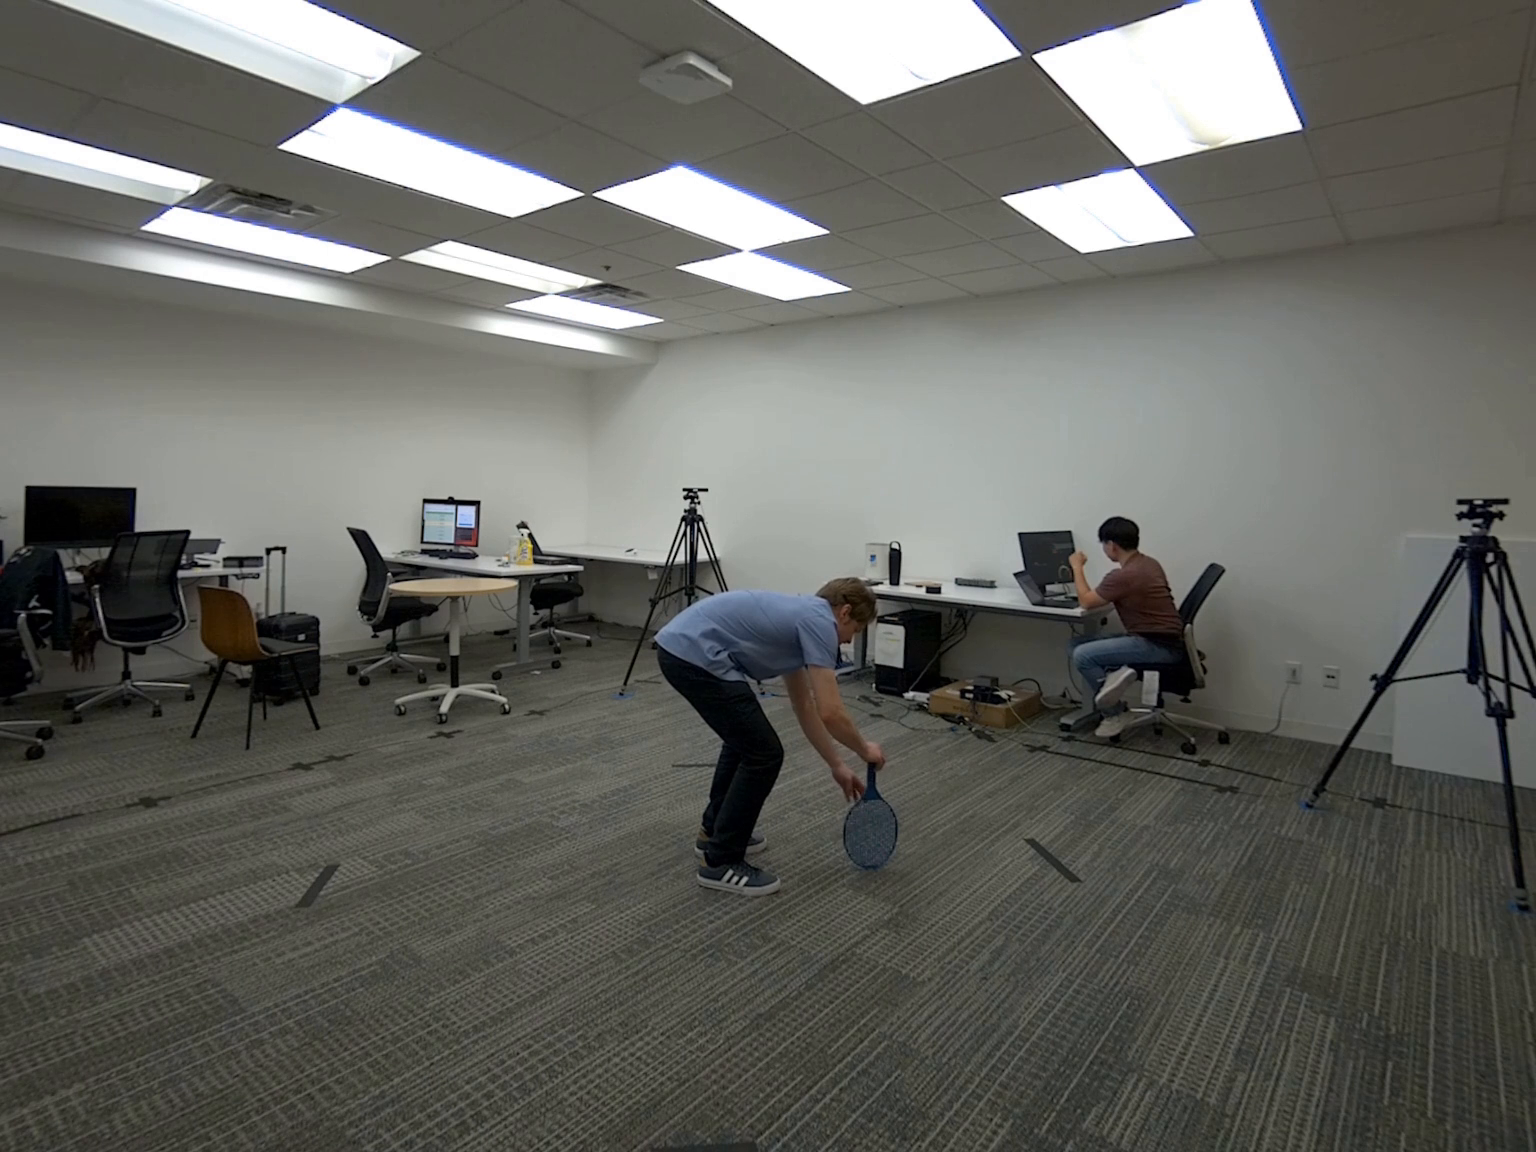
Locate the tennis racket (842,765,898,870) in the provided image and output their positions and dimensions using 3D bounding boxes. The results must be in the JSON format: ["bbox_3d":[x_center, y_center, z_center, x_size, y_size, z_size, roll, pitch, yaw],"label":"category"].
[{"bbox_3d":[0.366,0.864,3.143,0.211,0.432,0.032,-1,2,-13],"label":"tennis racket"}]
